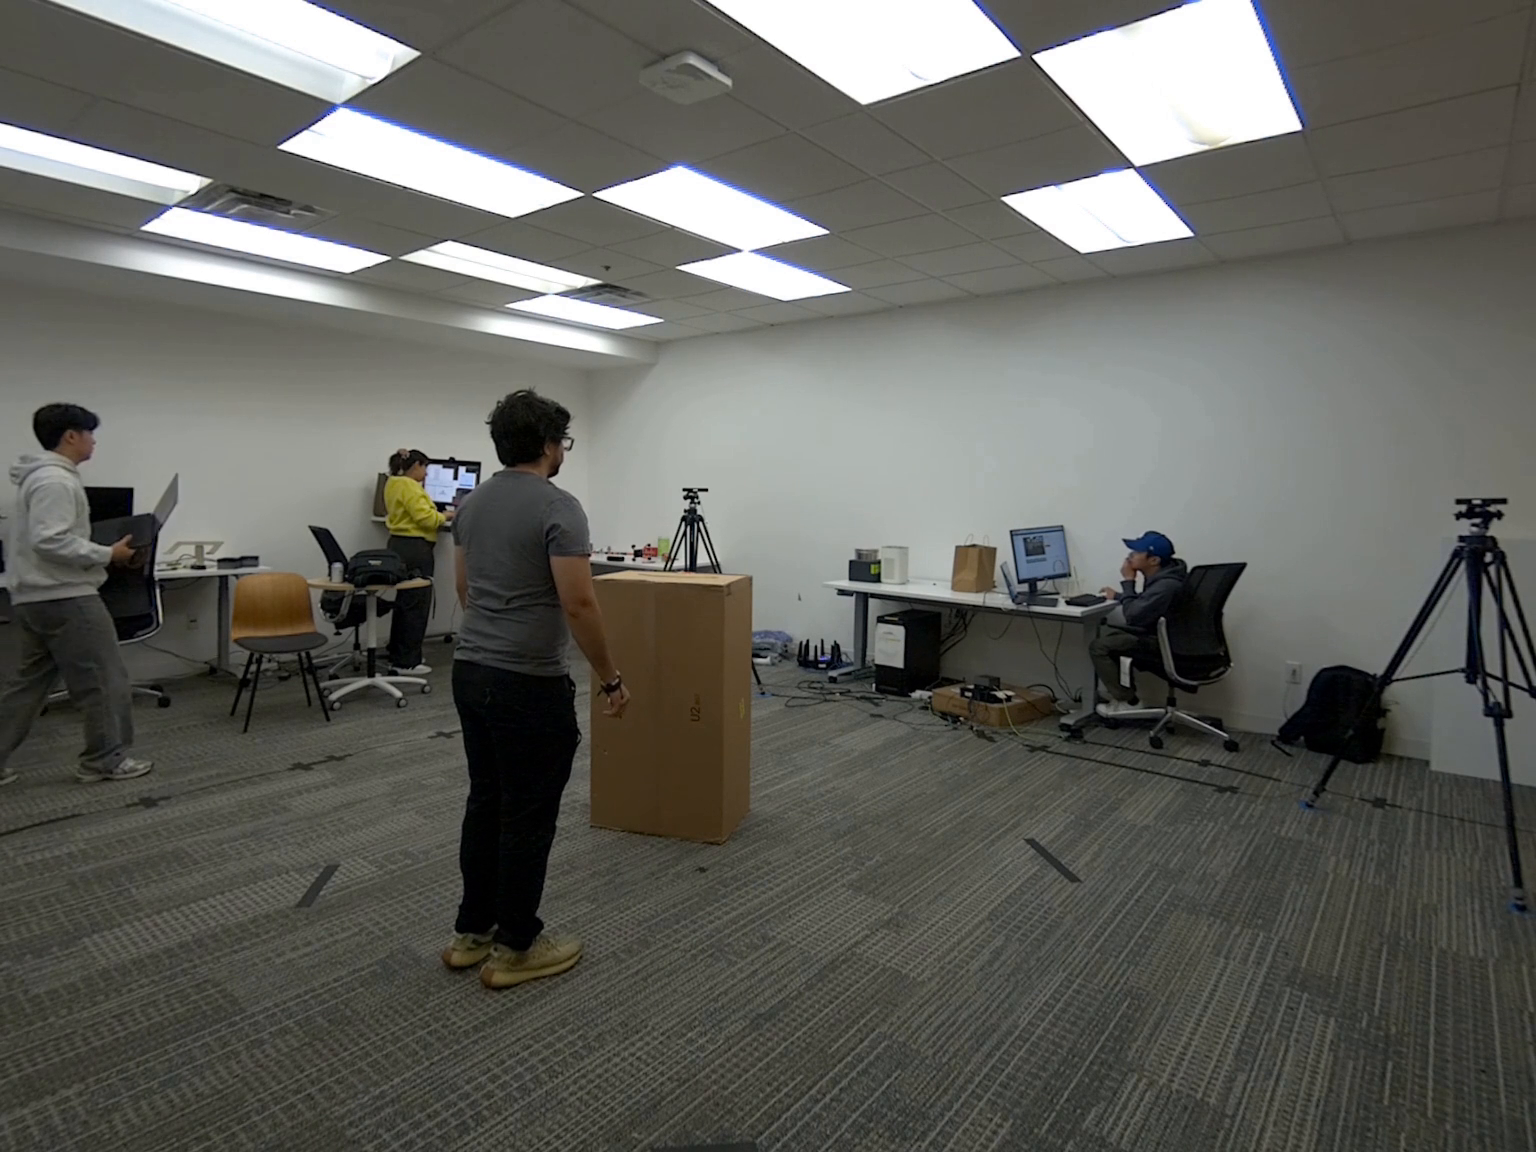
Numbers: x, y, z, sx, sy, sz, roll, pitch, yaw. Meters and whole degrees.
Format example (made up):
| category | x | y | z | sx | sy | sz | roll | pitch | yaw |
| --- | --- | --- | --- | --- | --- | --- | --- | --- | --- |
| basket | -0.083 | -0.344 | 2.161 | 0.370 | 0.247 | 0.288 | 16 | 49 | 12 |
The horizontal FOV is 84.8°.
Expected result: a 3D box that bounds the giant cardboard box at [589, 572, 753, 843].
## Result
| category | x | y | z | sx | sy | sz | roll | pitch | yaw |
| --- | --- | --- | --- | --- | --- | --- | --- | --- | --- |
| giant cardboard box | -0.405 | 0.512 | 3.587 | 0.594 | 1.024 | 0.440 | 2 | 3 | 16 |
